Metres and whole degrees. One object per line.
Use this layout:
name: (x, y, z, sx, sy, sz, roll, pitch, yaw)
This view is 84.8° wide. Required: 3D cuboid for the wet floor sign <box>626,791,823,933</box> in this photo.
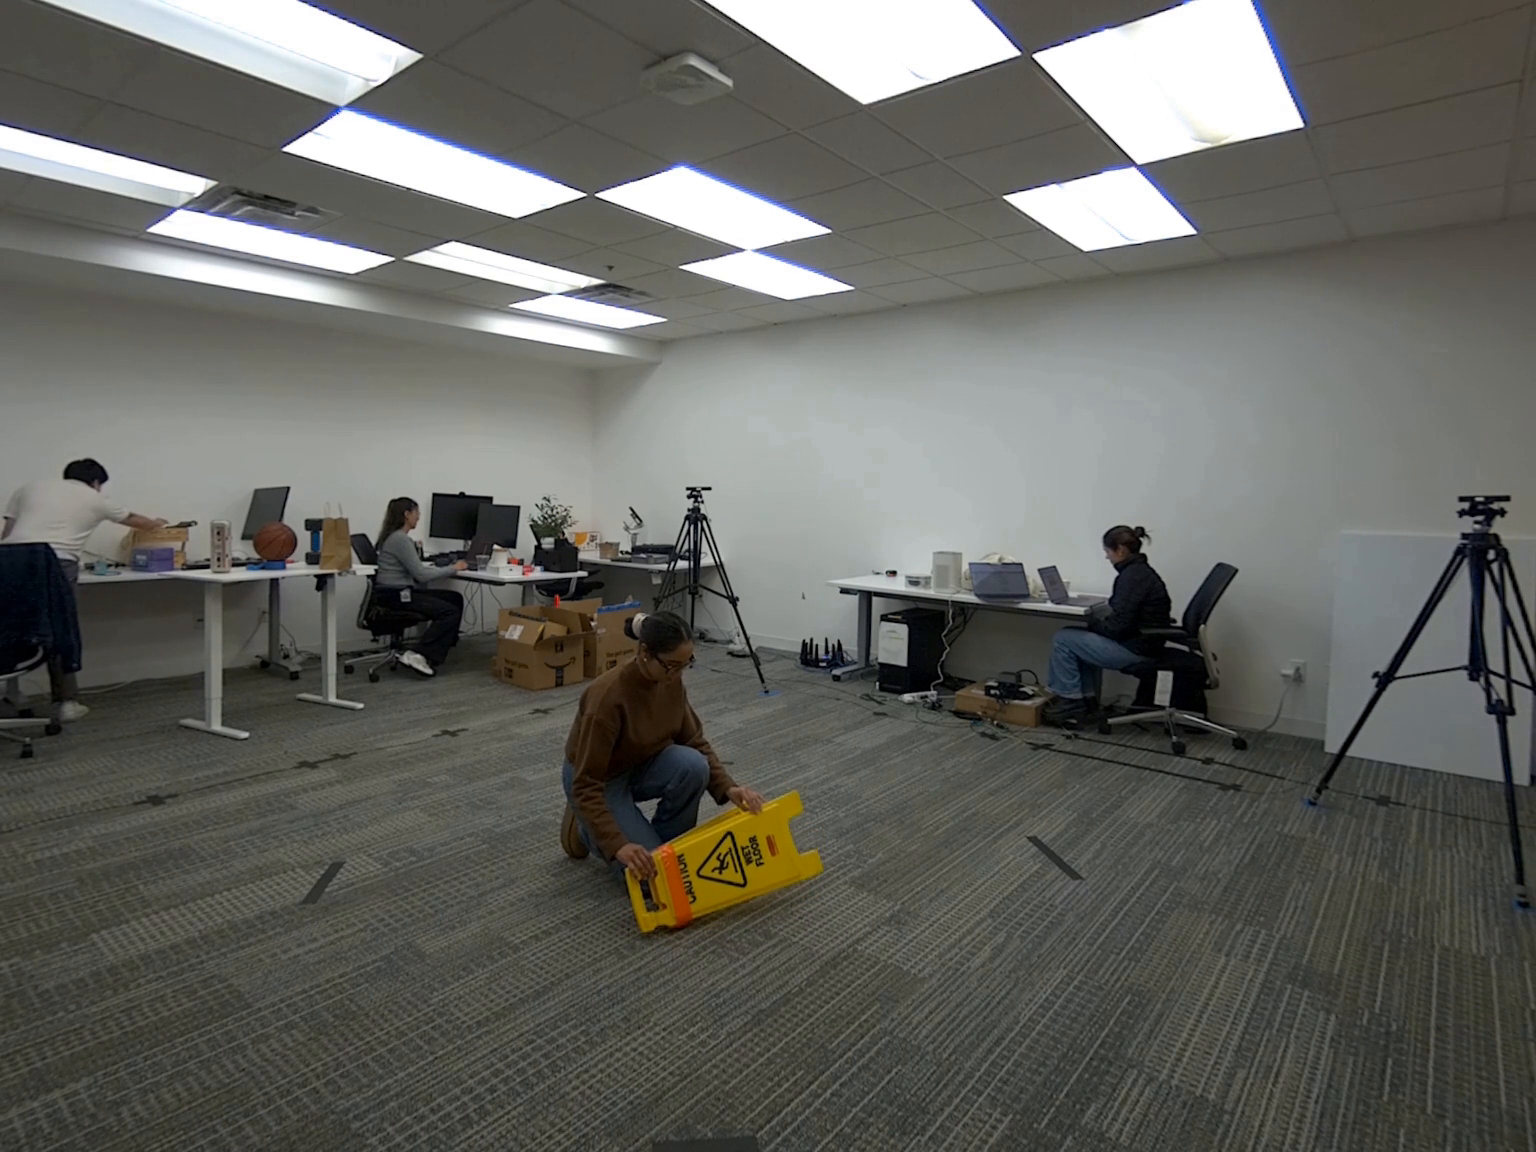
wet floor sign: (-0.178, 0.954, 2.810, 0.629, 0.286, 0.293, -10, -13, -38)
